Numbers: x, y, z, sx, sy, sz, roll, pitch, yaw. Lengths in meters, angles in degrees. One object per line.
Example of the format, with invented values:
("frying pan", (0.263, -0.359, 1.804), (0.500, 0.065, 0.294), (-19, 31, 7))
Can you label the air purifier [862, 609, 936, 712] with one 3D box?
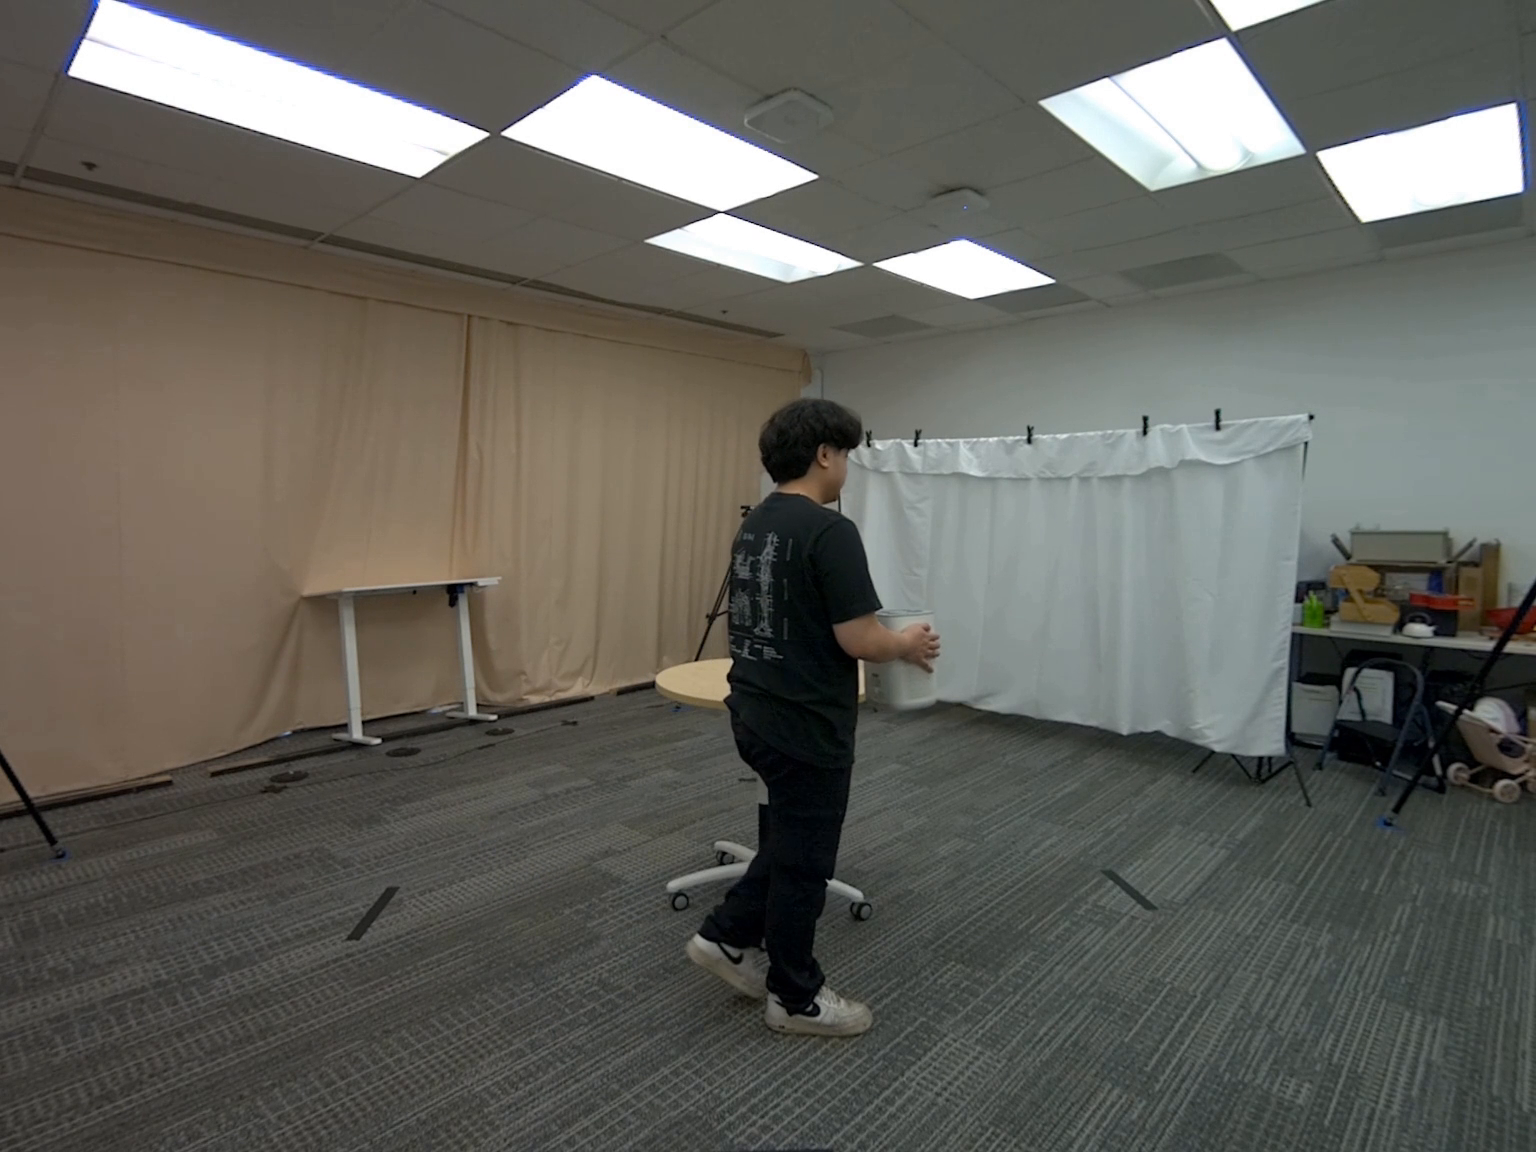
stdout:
("air purifier", (0.375, 0.235, 2.339), (0.167, 0.265, 0.176), (-2, 1, -29))
